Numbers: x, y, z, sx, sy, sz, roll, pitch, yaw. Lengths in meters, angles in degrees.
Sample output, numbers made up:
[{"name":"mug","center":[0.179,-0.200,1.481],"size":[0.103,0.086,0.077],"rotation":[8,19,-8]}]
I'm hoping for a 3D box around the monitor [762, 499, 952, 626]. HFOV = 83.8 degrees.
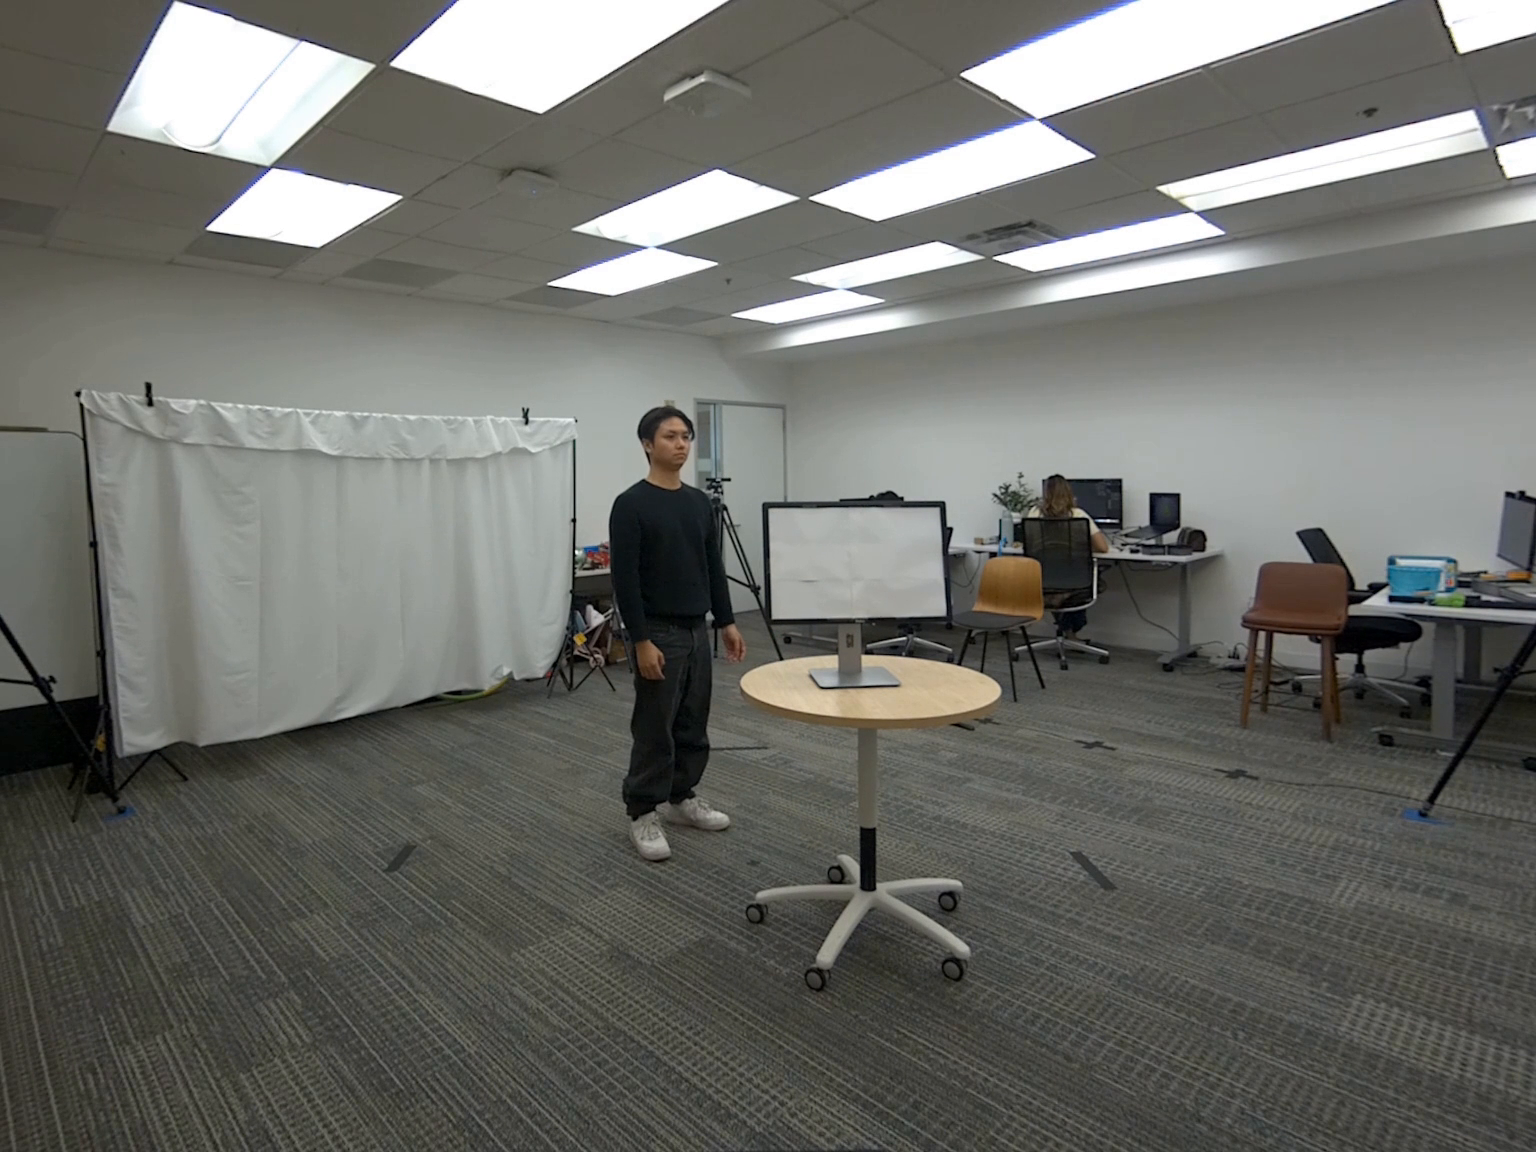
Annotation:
[{"name":"monitor","center":[0.257,0.050,2.578],"size":[0.526,0.513,0.177],"rotation":[-1,7,-7]}]
